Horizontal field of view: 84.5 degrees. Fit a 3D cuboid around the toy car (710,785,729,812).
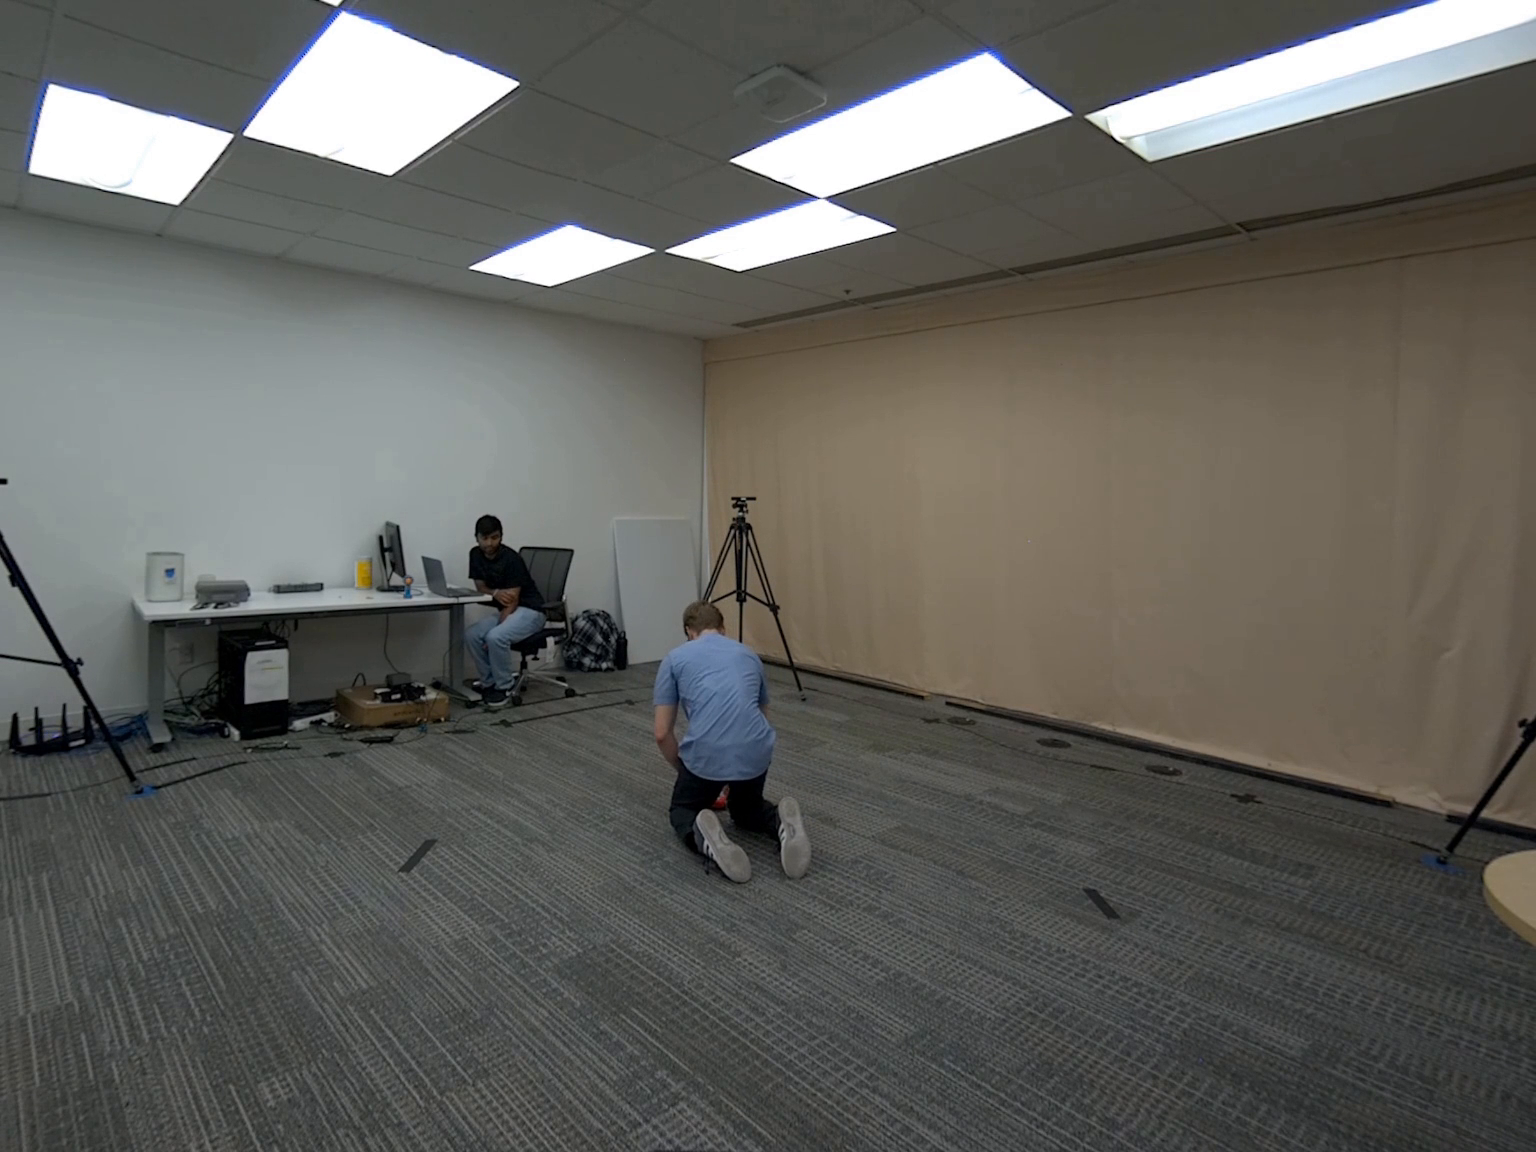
[{"bbox_3d":[-0.234,1.012,3.880,0.131,0.082,0.256,2,16,7],"label":"toy car"}]
